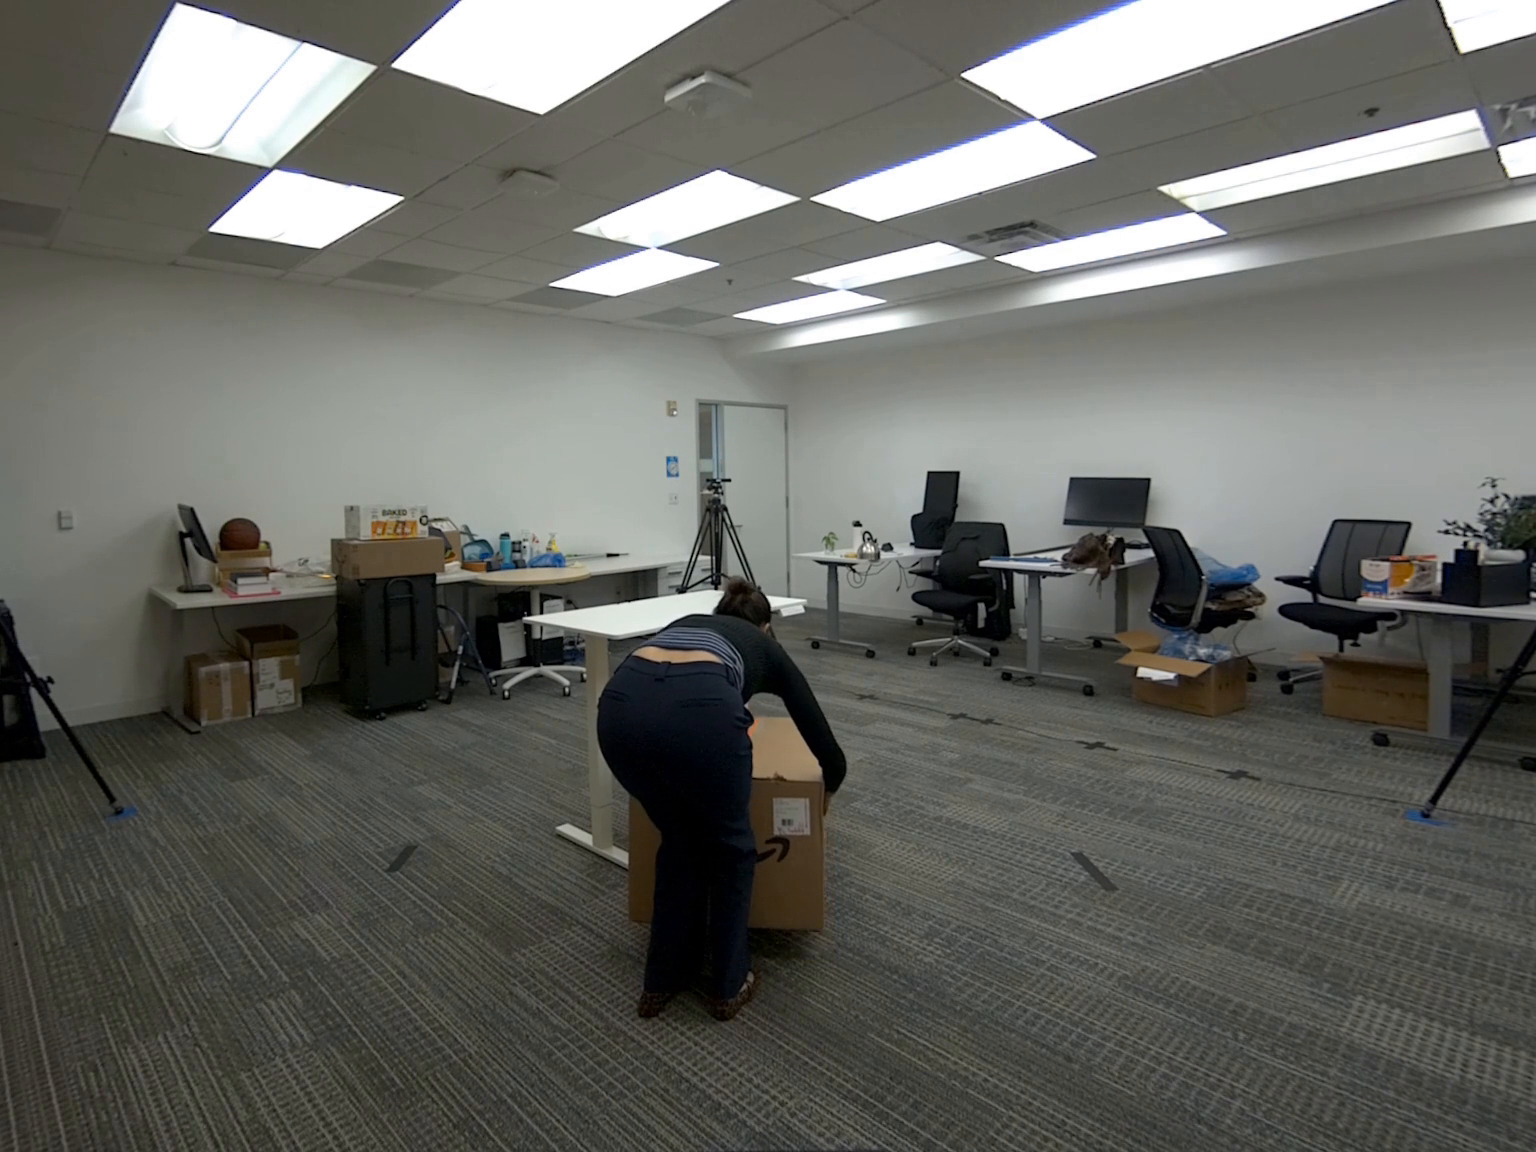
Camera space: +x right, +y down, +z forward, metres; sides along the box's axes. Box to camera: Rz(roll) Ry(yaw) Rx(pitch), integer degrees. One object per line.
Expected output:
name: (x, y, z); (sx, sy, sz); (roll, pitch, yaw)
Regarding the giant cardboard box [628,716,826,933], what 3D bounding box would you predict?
giant cardboard box: (-0.080, 0.788, 2.967); (0.581, 0.426, 1.019); (-1, 0, 4)
